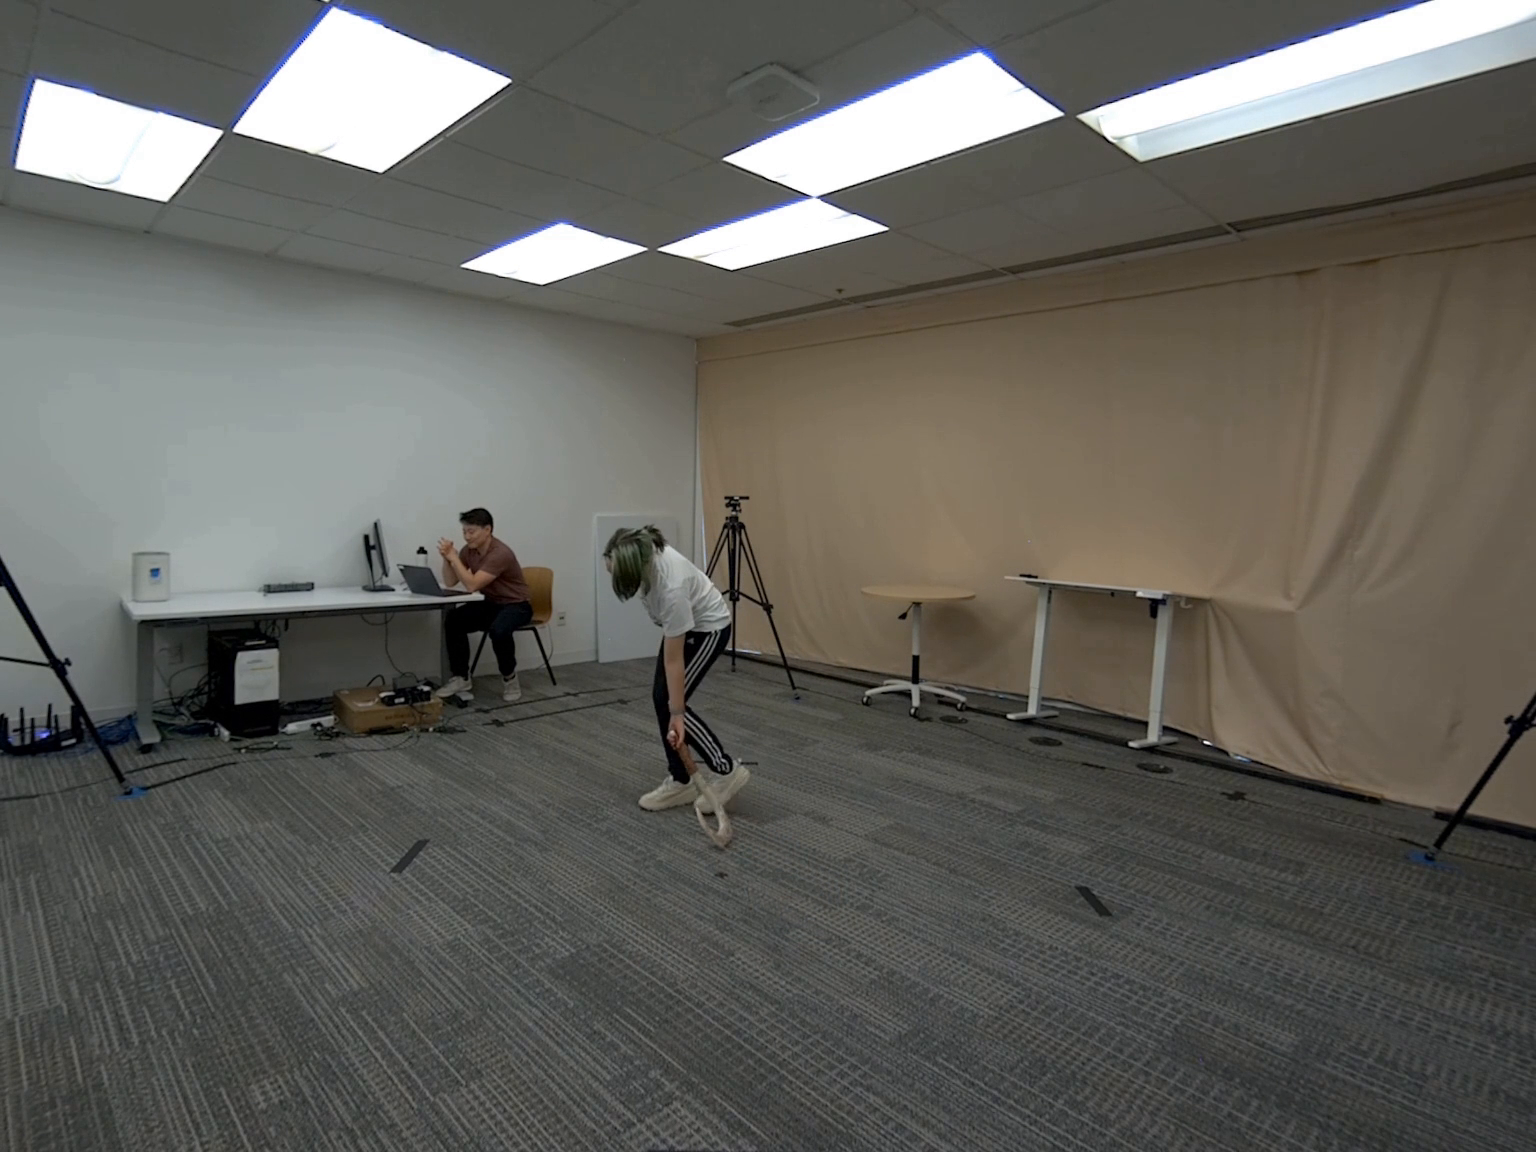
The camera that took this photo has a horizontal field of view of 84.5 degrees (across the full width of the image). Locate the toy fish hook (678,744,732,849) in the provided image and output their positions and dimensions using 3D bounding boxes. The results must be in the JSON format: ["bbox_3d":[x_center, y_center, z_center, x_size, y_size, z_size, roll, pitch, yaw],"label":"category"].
[{"bbox_3d":[-0.295,0.860,3.405,0.048,0.511,0.222,-32,-9,11],"label":"toy fish hook"}]
